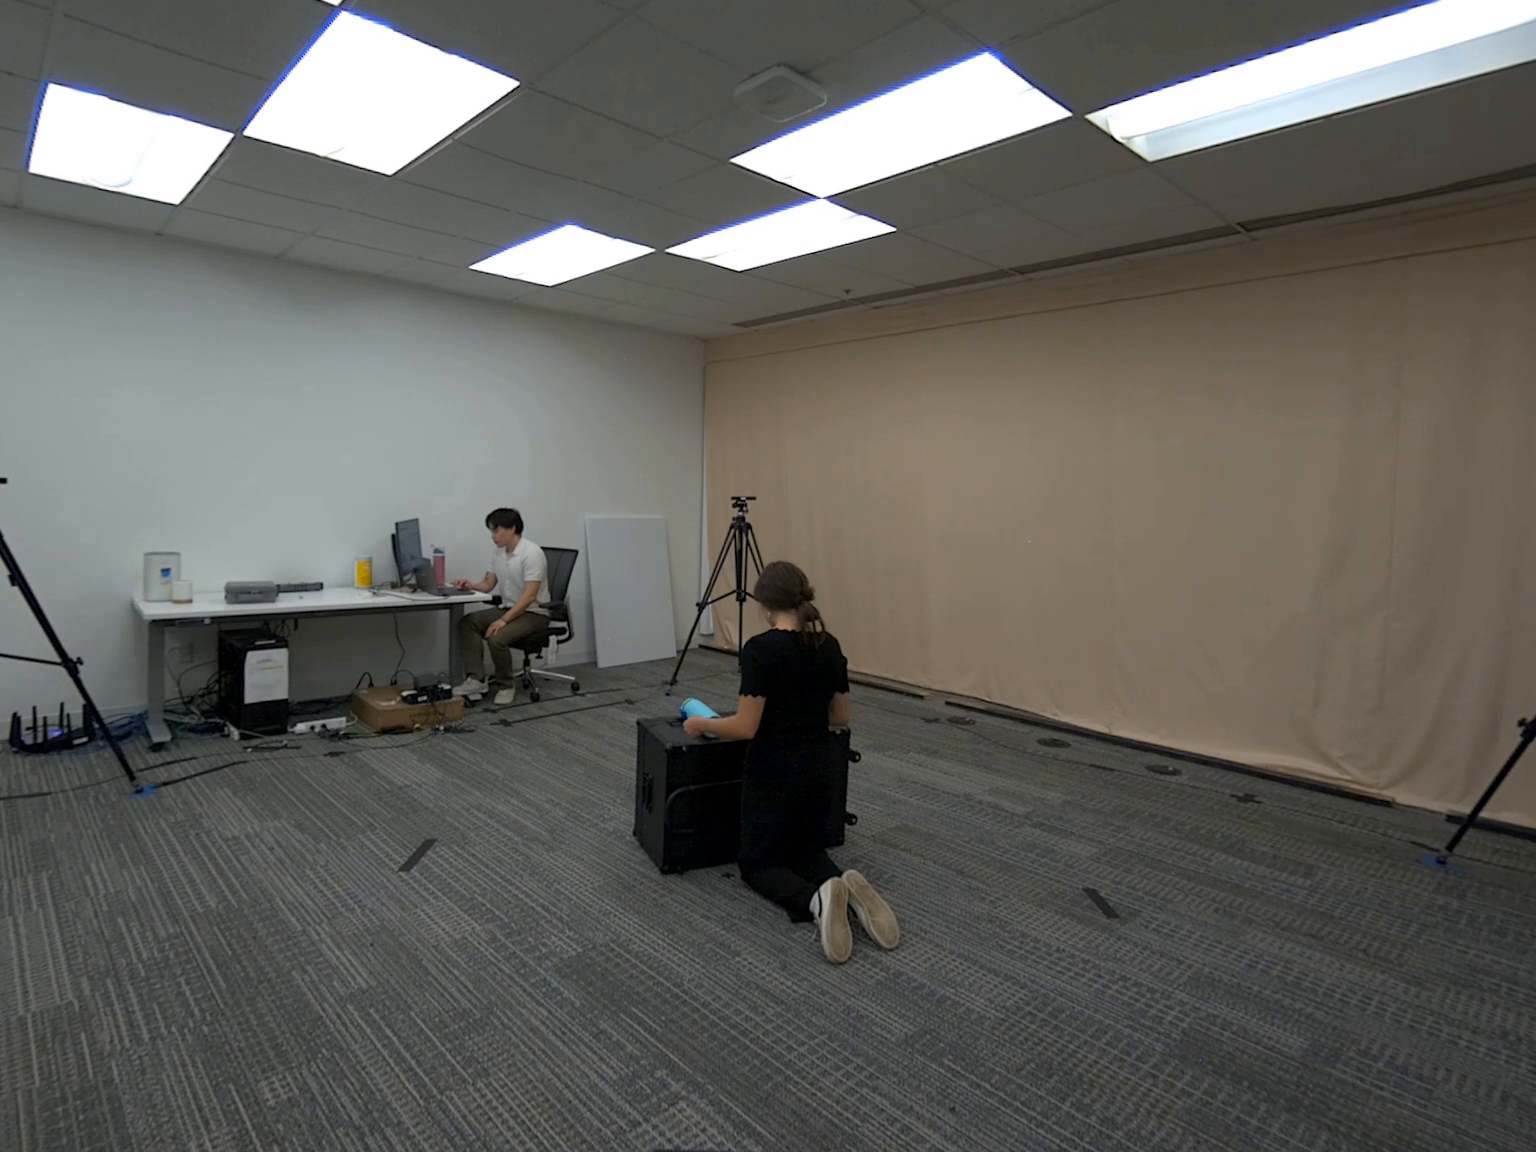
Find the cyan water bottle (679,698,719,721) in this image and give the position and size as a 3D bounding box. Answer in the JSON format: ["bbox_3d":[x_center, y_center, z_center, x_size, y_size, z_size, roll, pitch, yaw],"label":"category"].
[{"bbox_3d":[-0.269,0.545,3.303,0.090,0.092,0.290,-1,9,-27],"label":"cyan water bottle"}]
